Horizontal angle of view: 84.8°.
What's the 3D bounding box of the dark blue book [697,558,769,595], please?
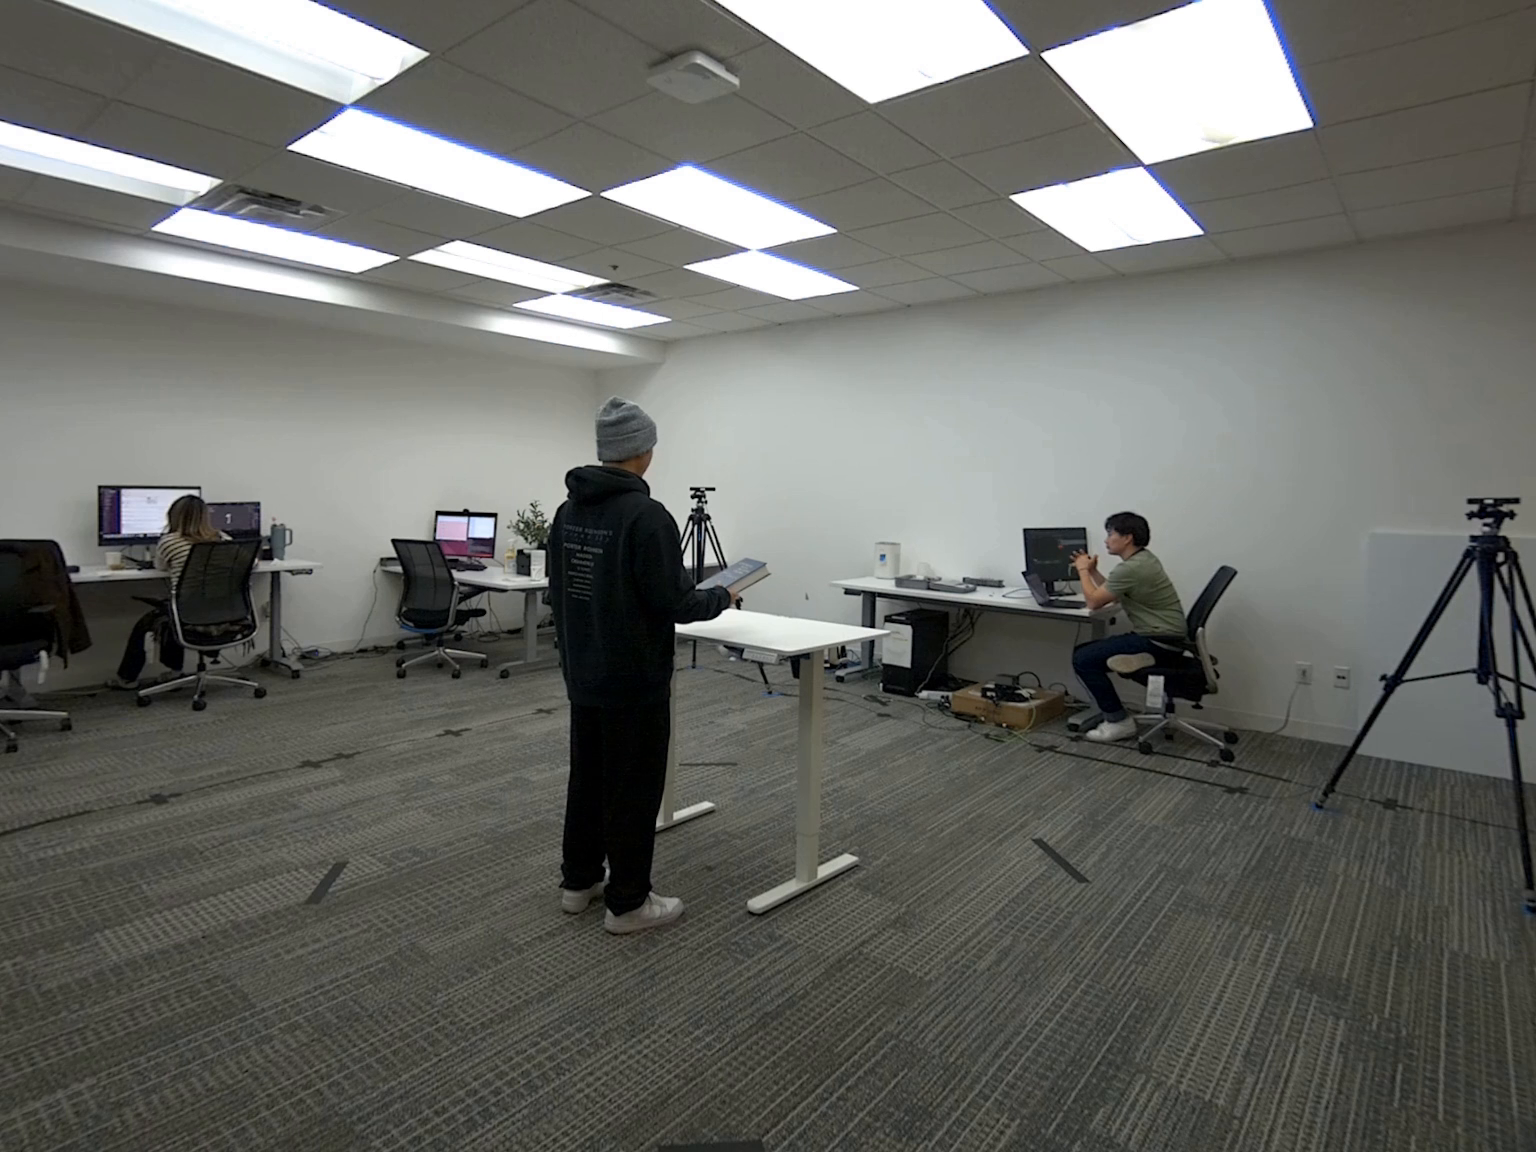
[{"bbox_3d":[-0.141,0.021,2.929,0.243,0.044,0.169,-31,22,-23],"label":"dark blue book"}]
